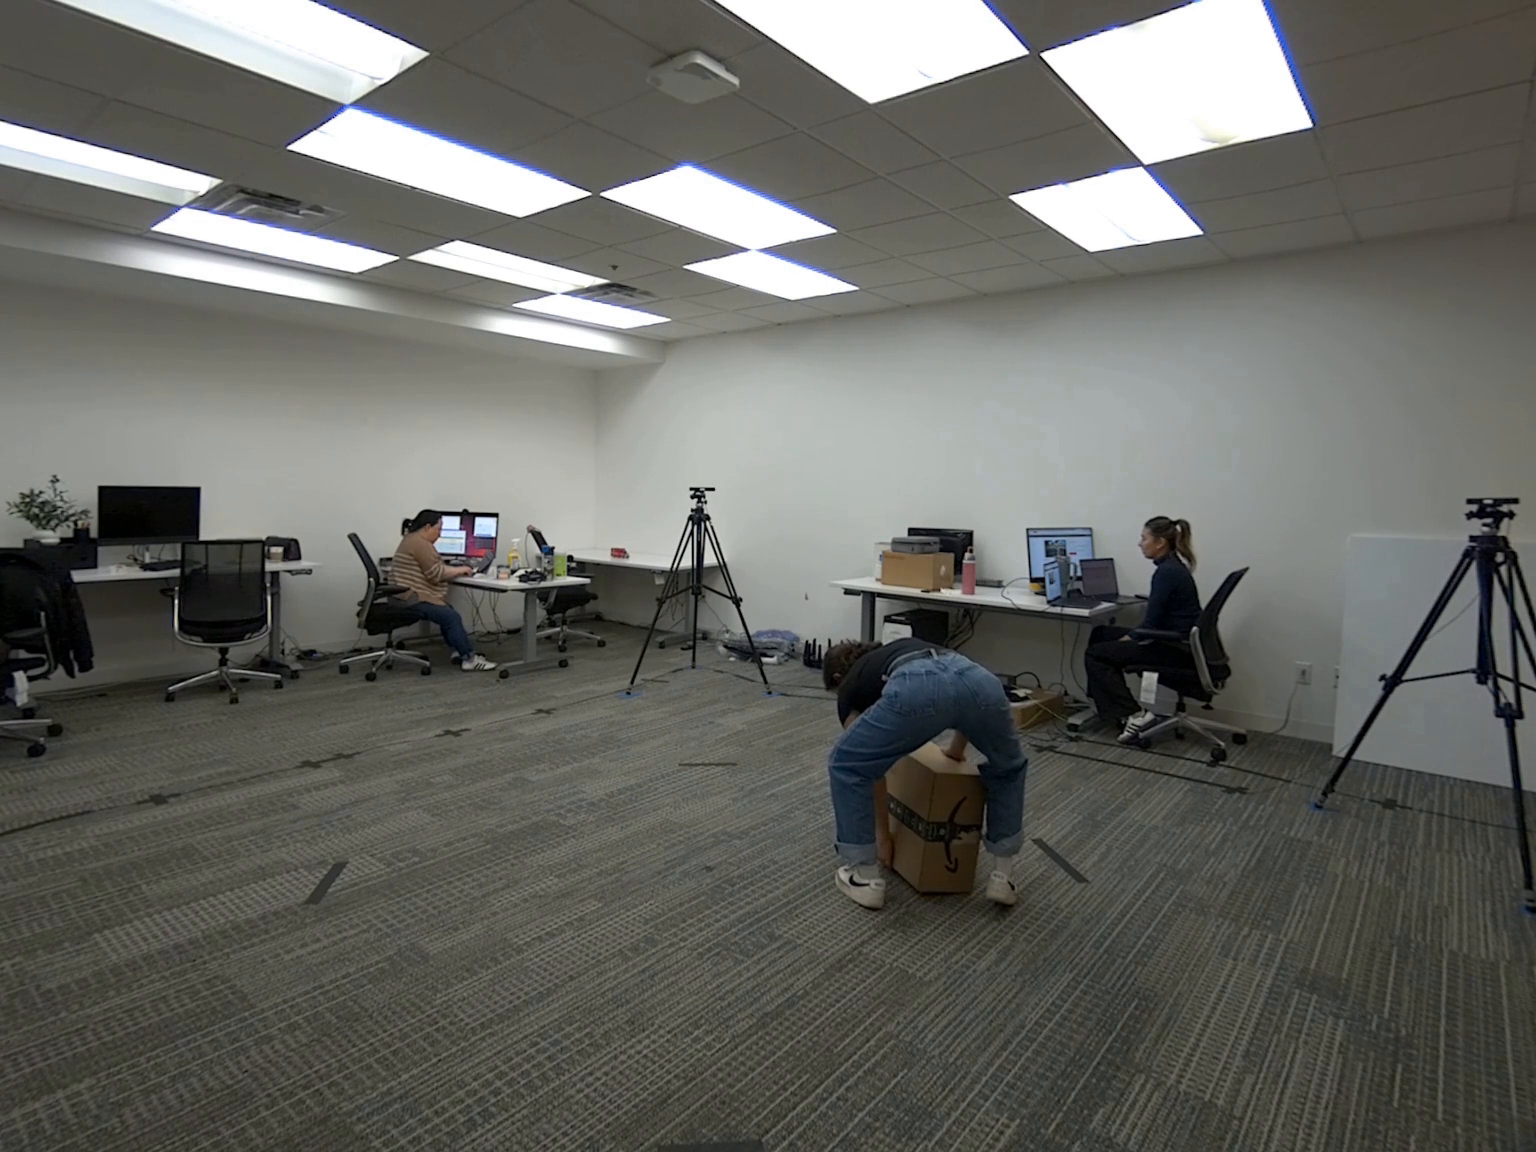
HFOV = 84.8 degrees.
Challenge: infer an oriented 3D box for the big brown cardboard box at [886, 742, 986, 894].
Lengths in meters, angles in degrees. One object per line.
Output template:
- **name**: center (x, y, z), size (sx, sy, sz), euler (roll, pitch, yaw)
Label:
- **big brown cardboard box**: center (0.540, 0.848, 3.213), size (0.228, 0.417, 0.602), euler (6, 3, -19)
